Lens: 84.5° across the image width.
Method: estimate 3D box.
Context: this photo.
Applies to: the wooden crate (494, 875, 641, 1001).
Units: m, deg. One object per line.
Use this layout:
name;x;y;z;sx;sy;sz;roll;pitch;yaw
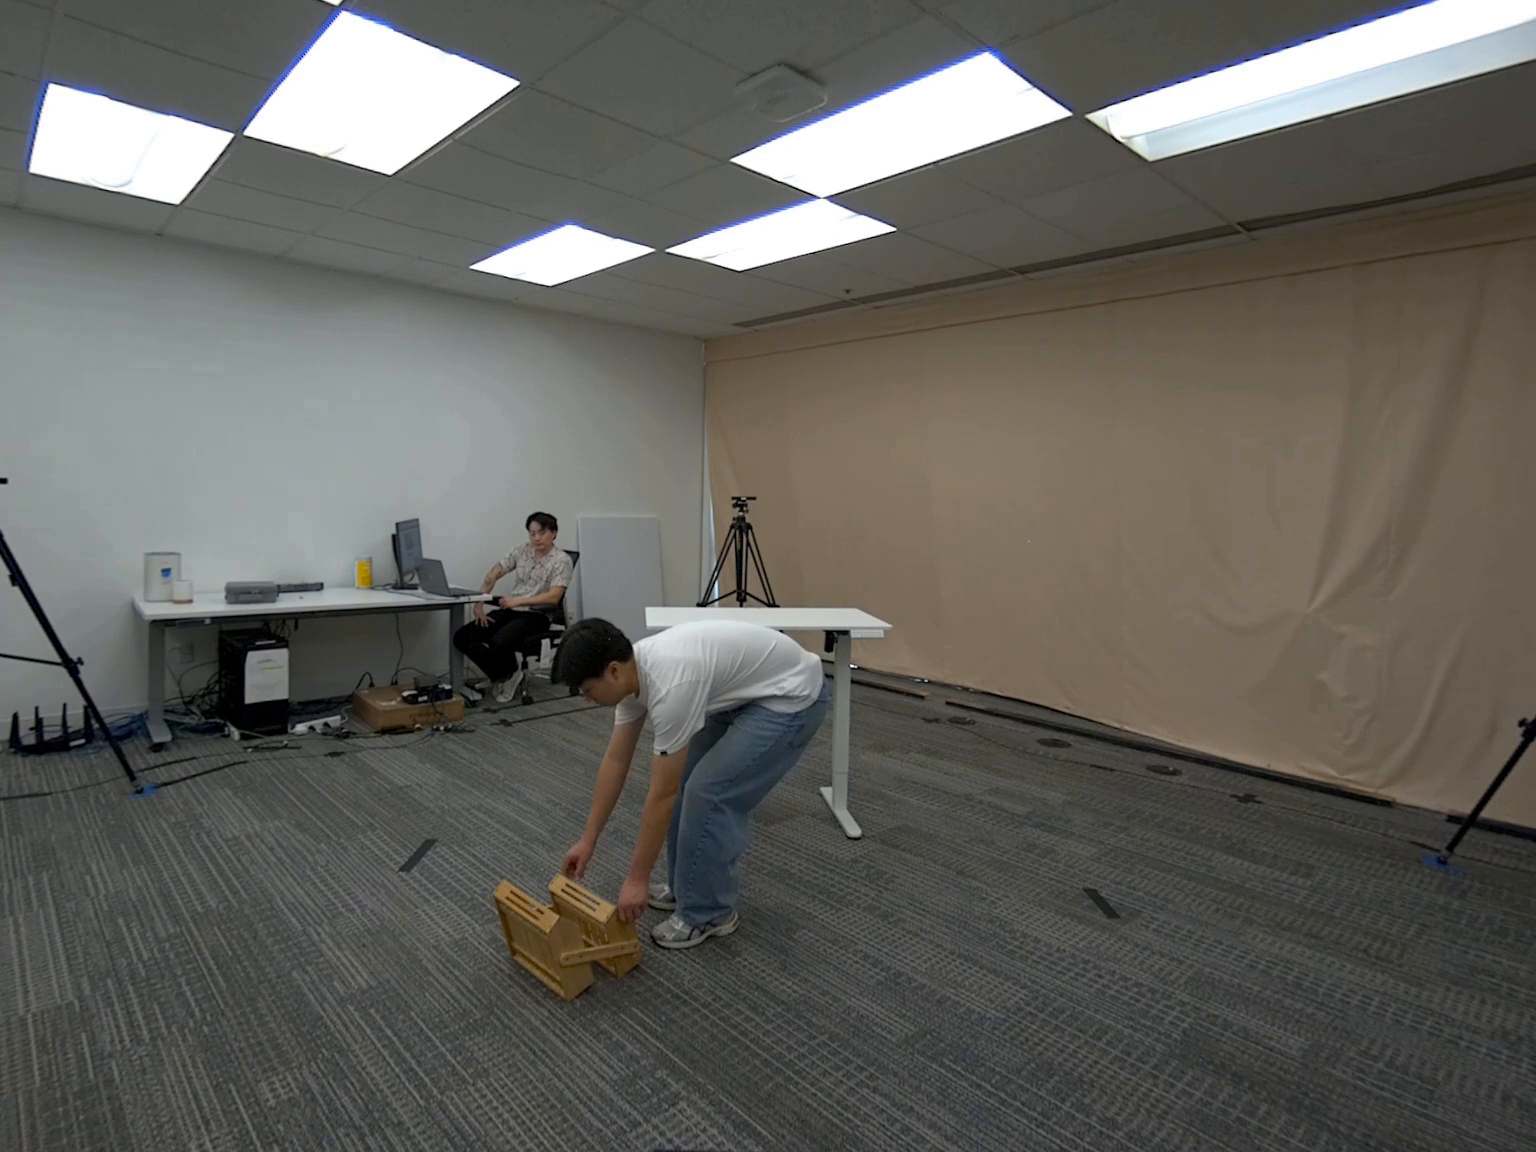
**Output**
wooden crate;-0.594;1.020;2.470;0.333;0.298;0.270;6;23;44
